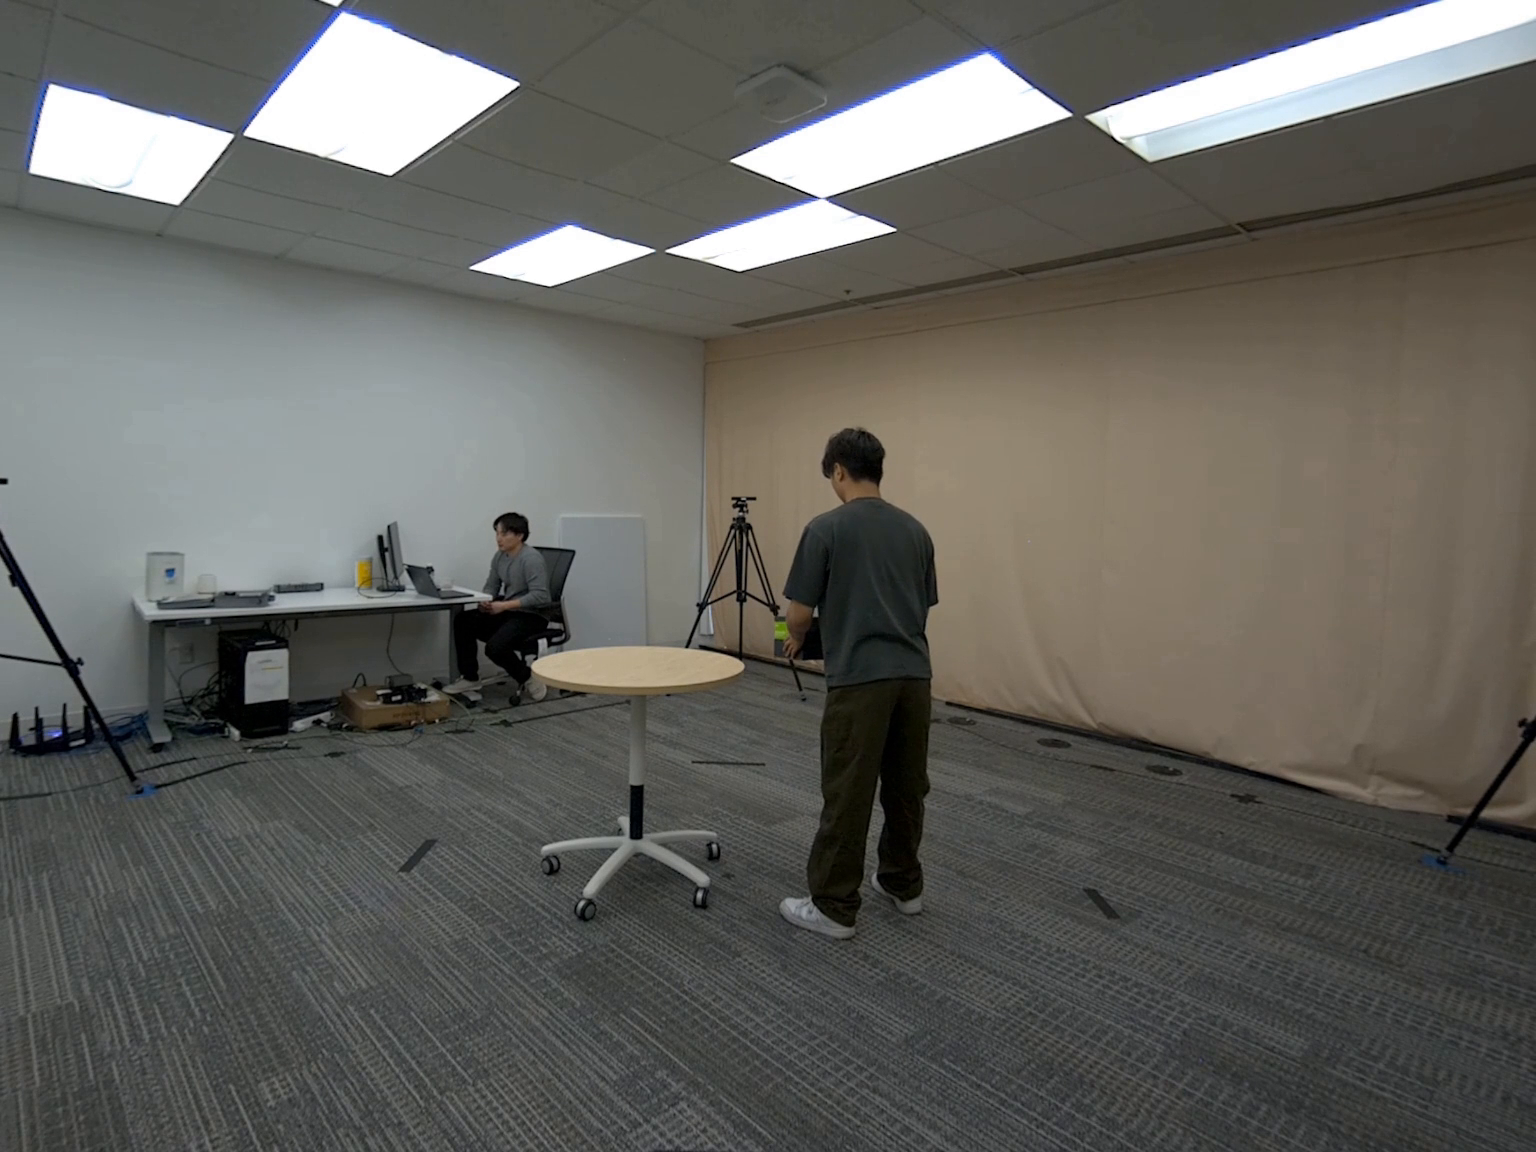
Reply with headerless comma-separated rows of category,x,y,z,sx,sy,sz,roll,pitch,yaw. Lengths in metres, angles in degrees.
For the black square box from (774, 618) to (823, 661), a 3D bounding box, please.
black square box,0.165,0.231,3.143,0.213,0.156,0.231,1,-2,-25
